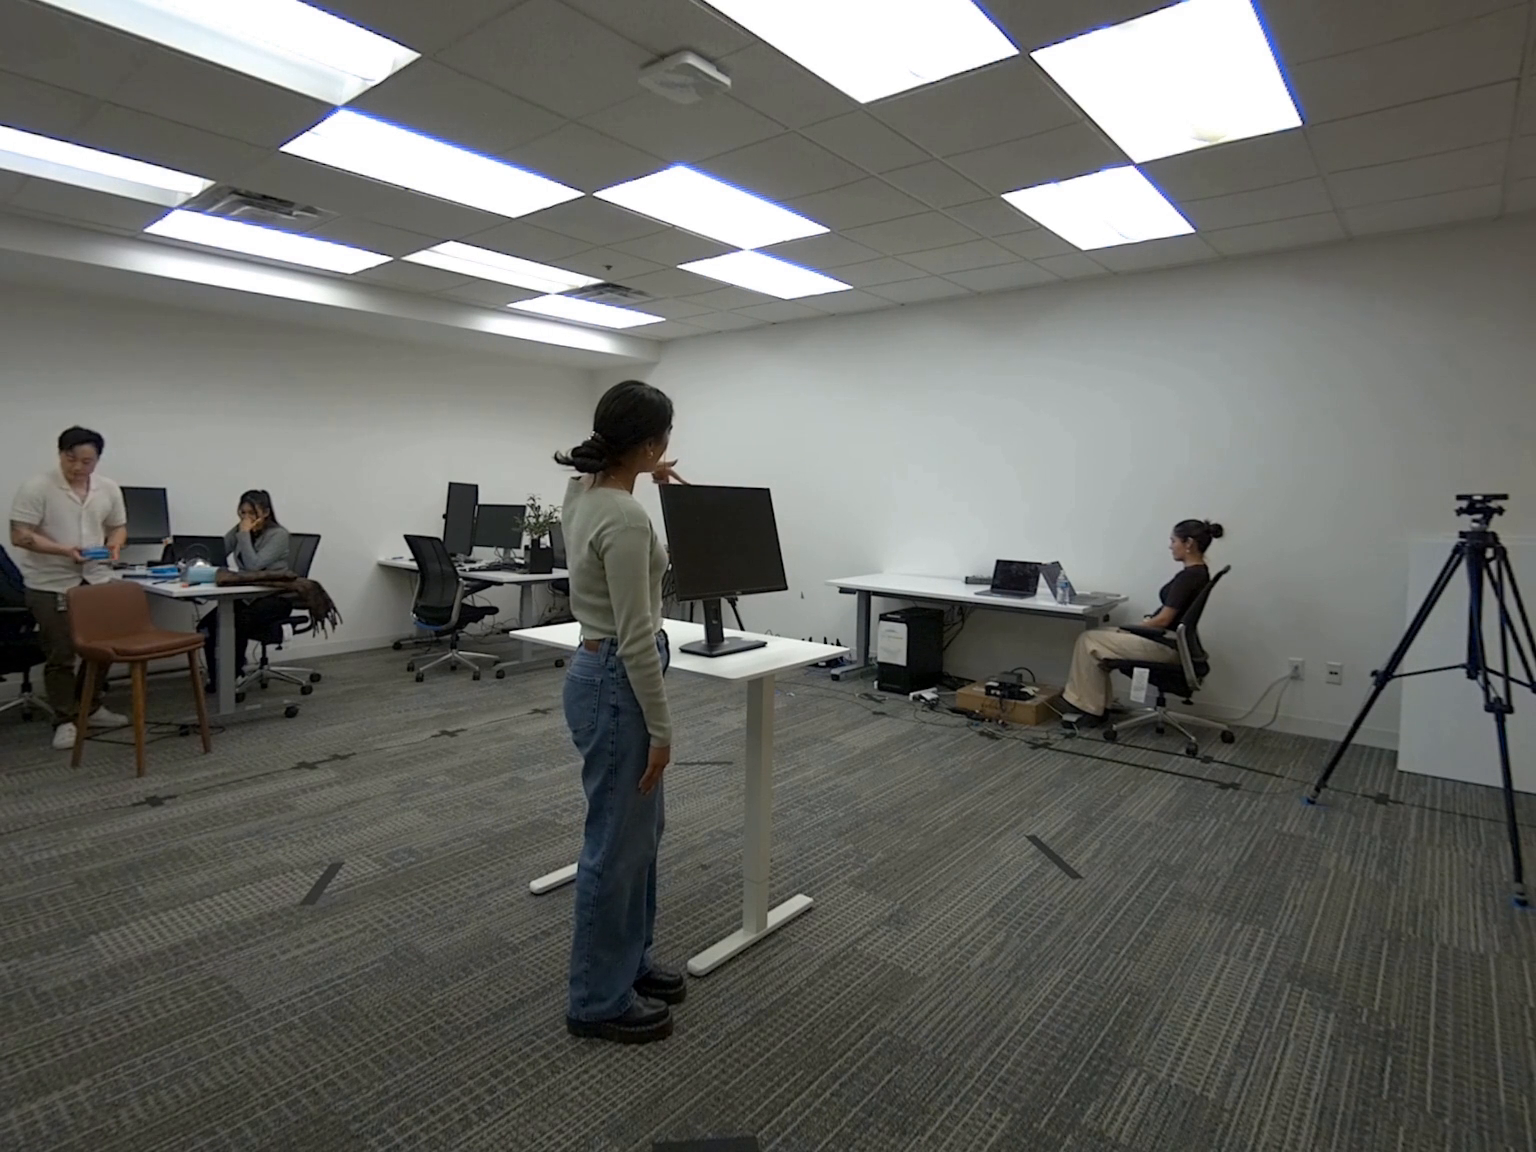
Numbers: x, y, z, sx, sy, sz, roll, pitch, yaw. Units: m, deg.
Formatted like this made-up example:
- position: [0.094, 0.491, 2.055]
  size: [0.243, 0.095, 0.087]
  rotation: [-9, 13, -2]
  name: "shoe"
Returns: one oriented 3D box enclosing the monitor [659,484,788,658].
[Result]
- position: [-0.159, -0.024, 2.688]
  size: [0.193, 0.522, 0.523]
  rotation: [0, 2, 36]
  name: "monitor"
